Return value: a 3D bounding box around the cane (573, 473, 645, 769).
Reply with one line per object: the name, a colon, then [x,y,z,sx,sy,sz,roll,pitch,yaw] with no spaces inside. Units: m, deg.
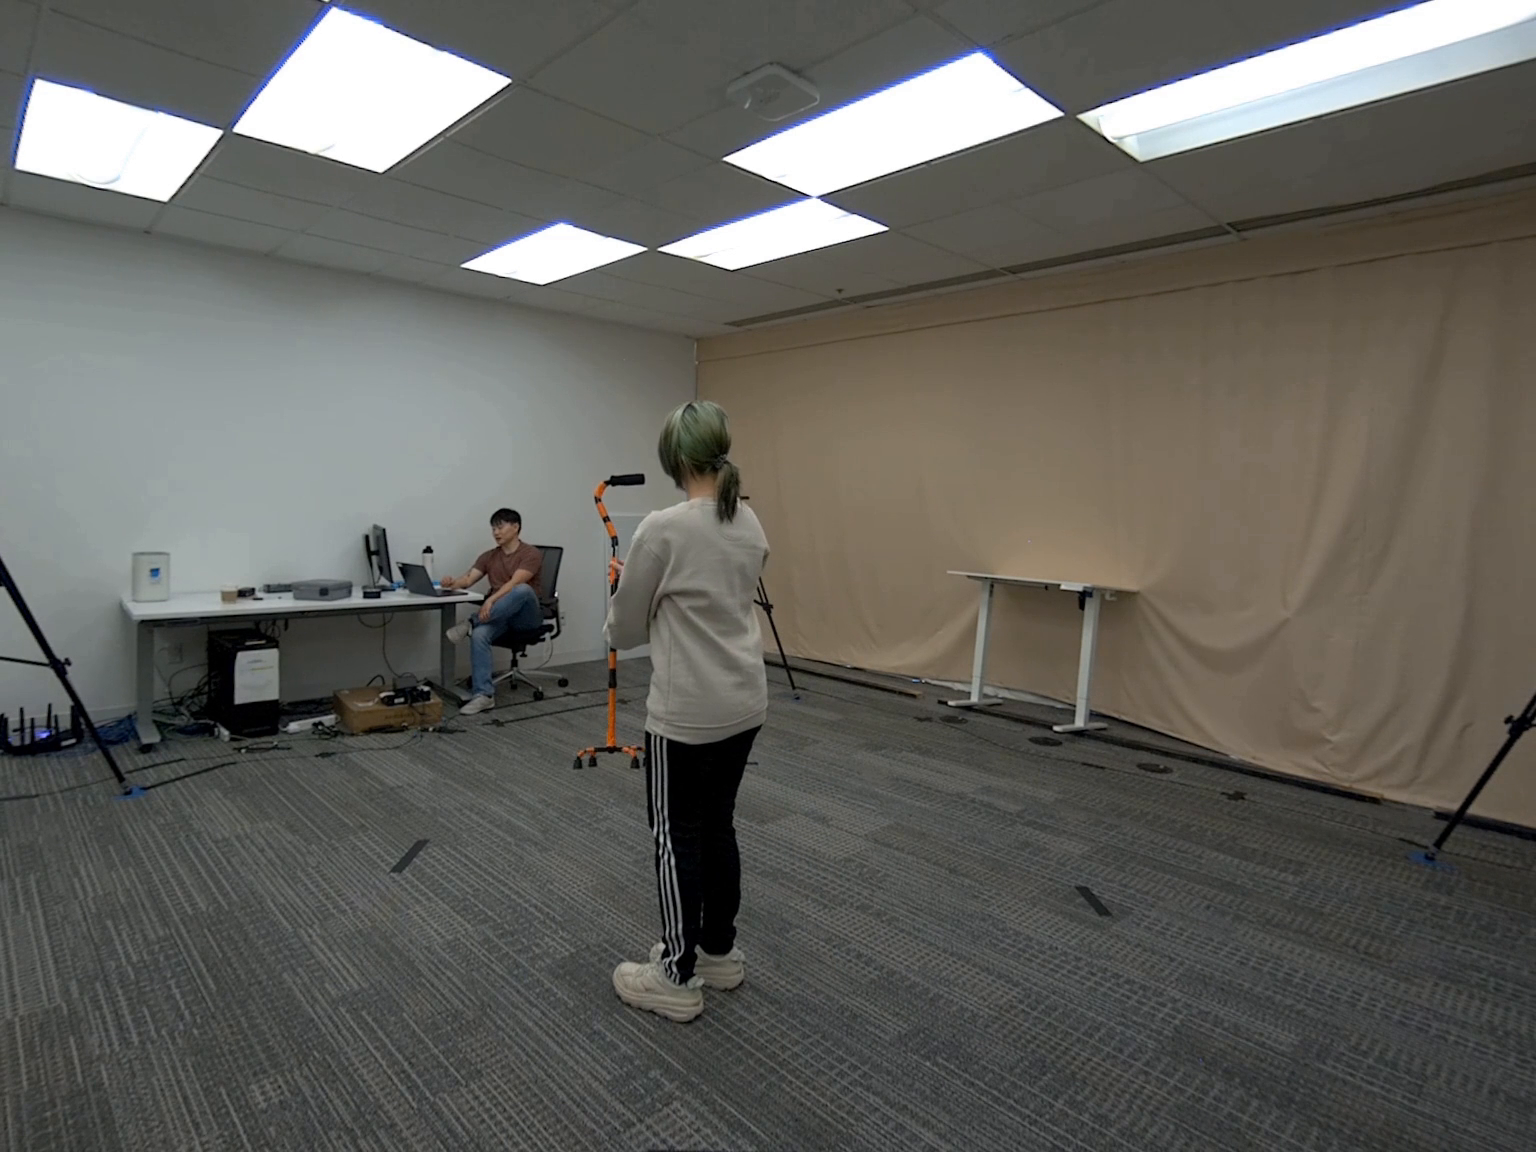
cane: [-0.490,0.138,2.626,0.207,0.915,0.149,-4,-10,7]
